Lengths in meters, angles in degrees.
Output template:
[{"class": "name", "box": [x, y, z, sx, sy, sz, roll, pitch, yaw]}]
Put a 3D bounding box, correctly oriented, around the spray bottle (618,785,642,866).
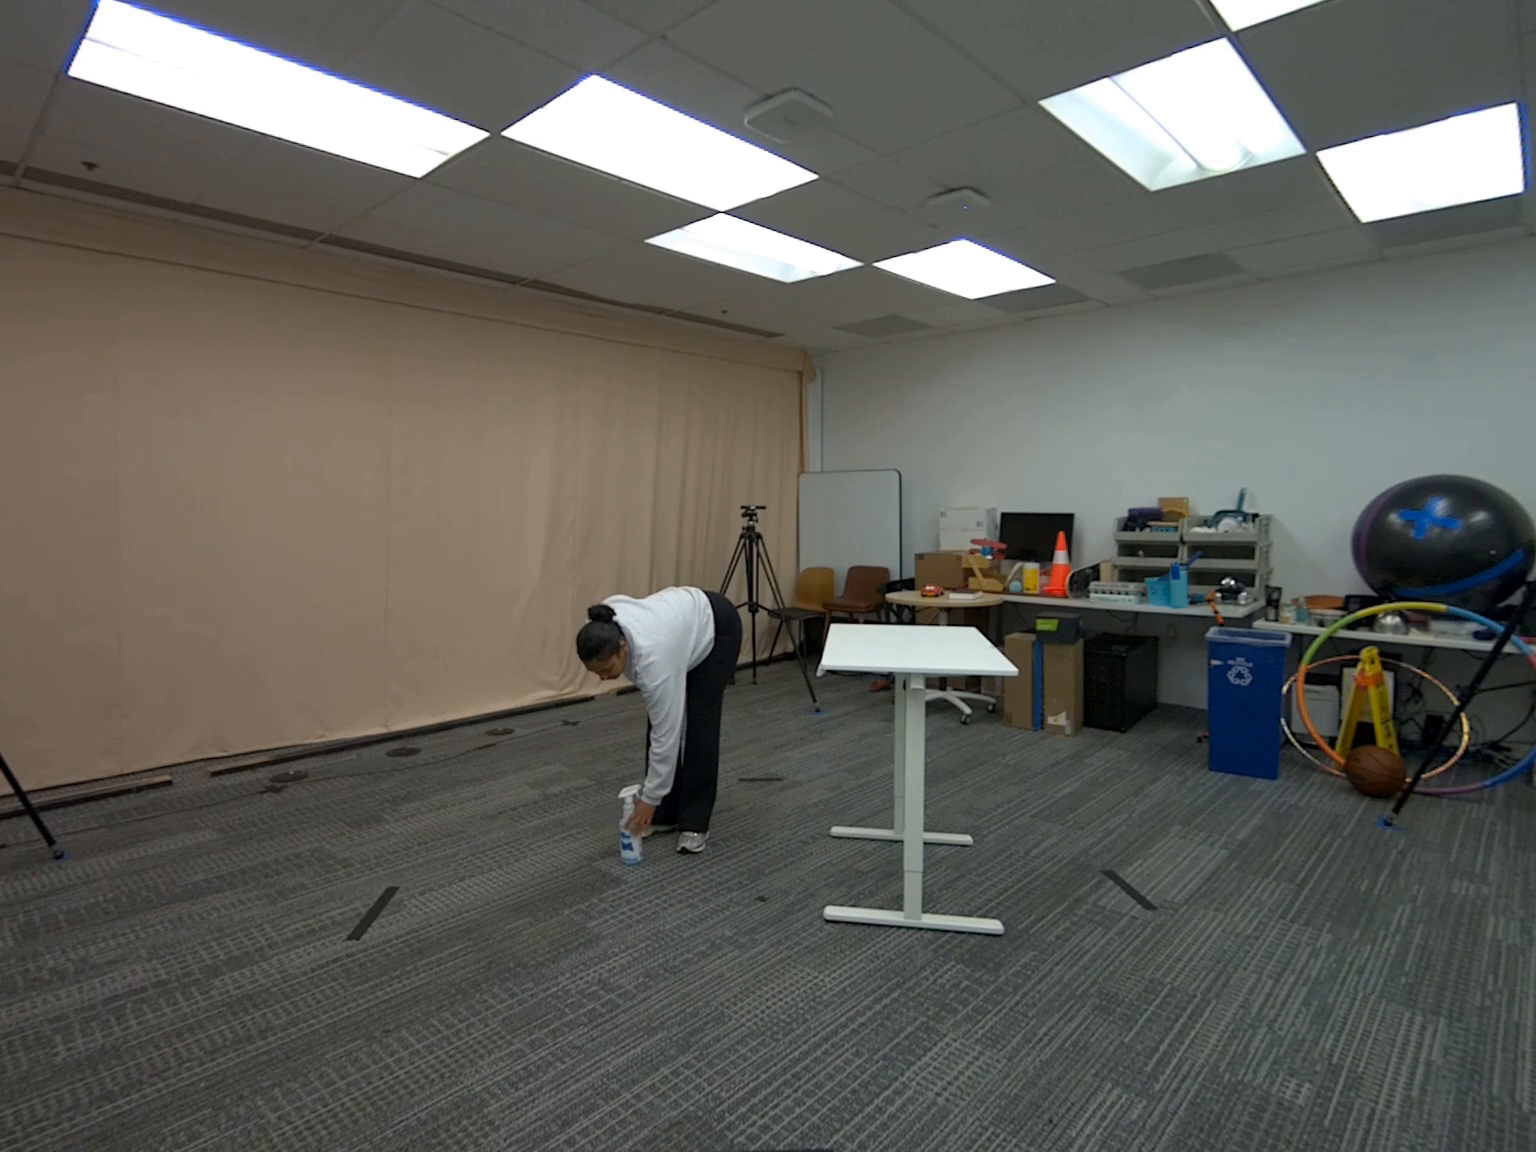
[{"class": "spray bottle", "box": [-0.537, 0.973, 3.306, 0.089, 0.297, 0.087, -2, 3, -5]}]
